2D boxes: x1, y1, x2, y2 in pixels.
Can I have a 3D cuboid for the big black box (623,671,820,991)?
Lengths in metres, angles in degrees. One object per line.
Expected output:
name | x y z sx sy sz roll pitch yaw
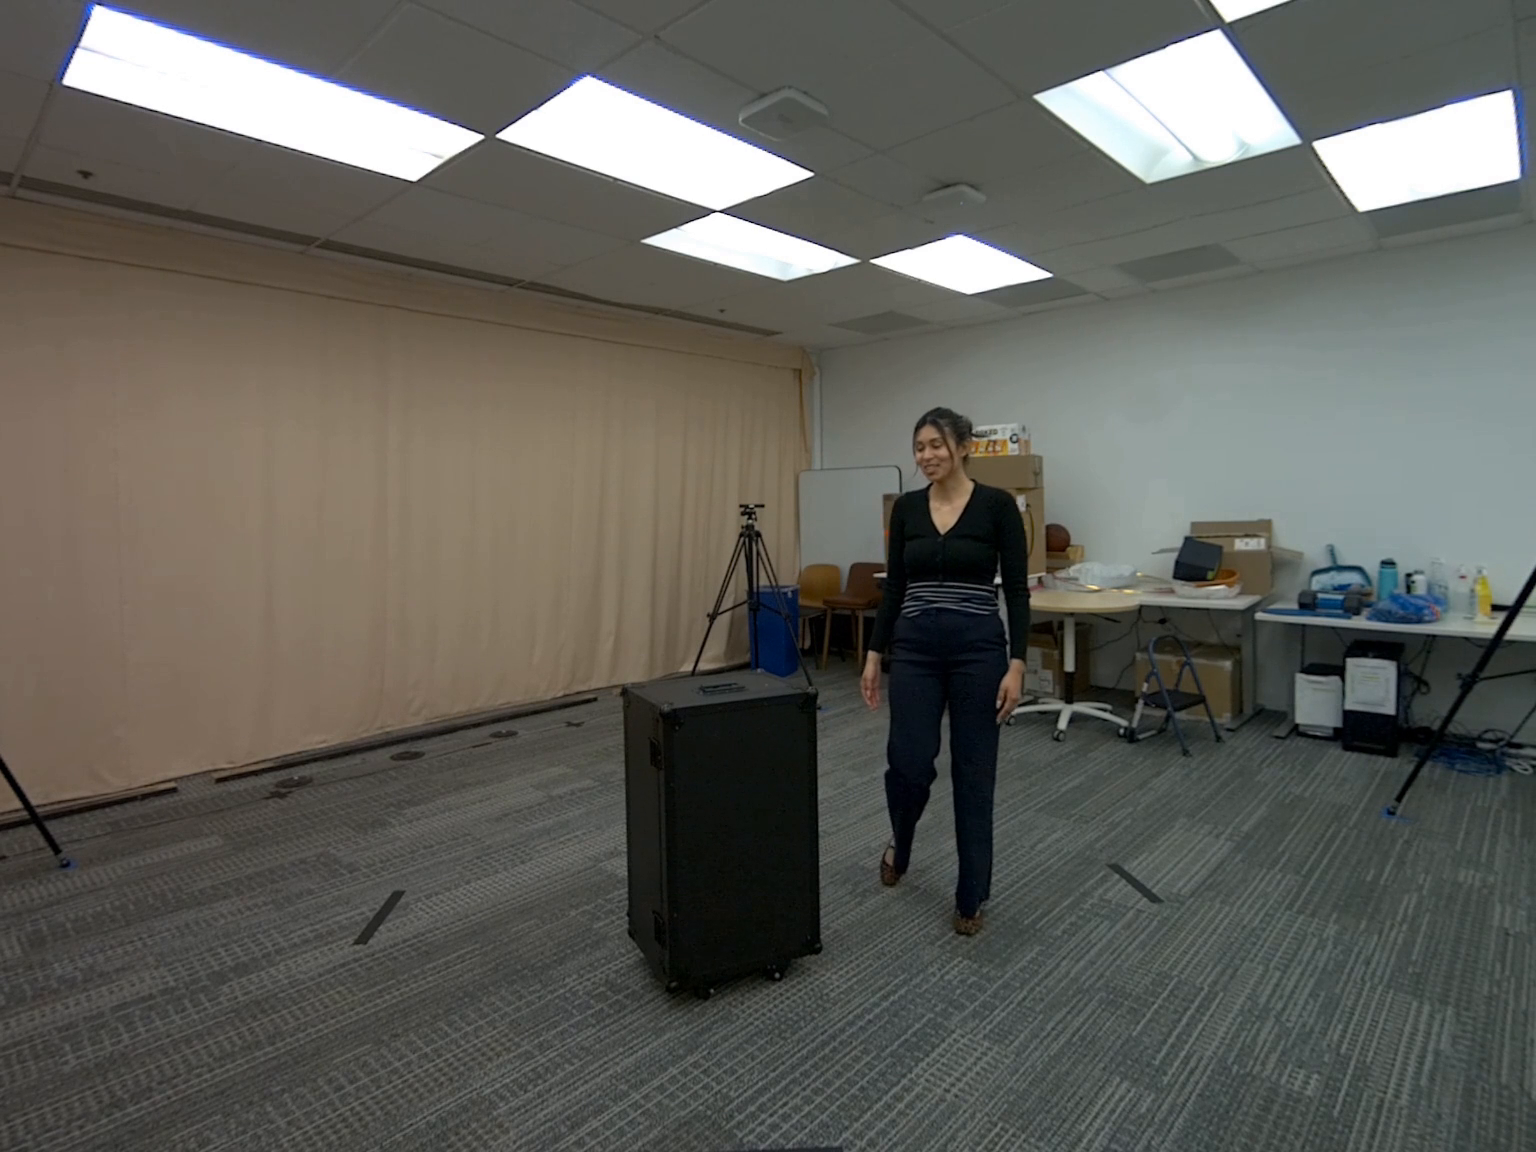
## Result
big black box | -0.146 0.753 2.531 0.509 0.860 0.406 -2 3 -26
